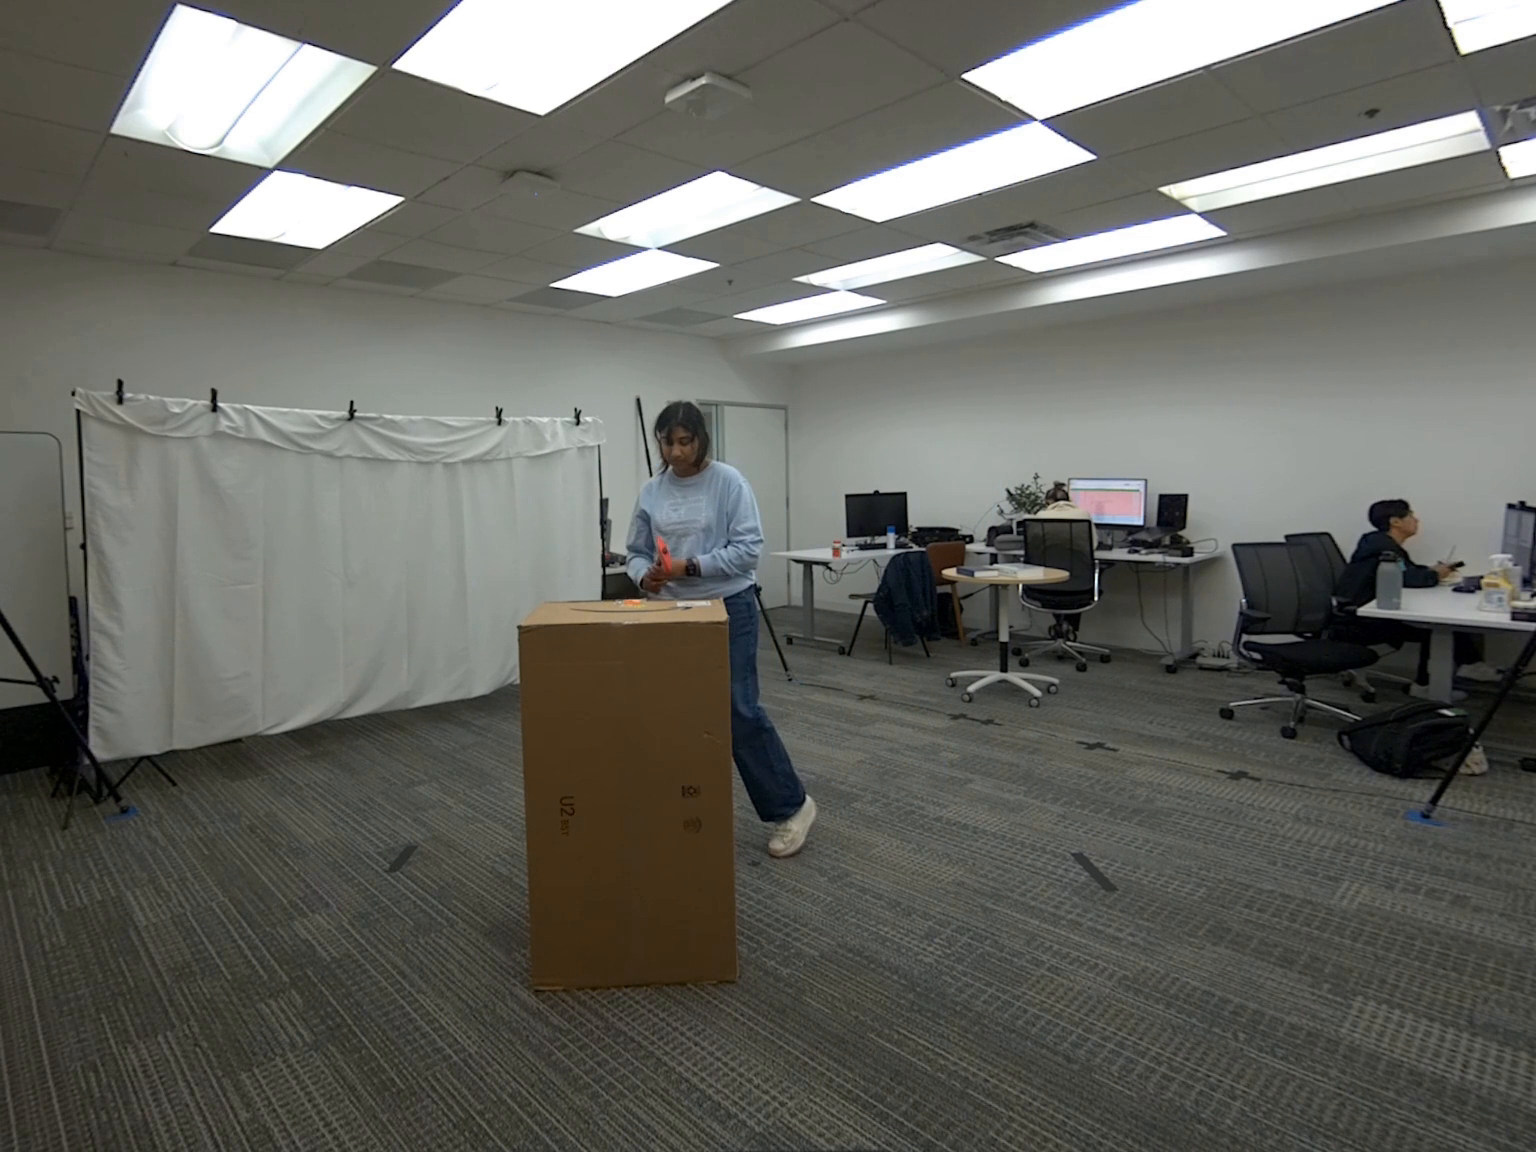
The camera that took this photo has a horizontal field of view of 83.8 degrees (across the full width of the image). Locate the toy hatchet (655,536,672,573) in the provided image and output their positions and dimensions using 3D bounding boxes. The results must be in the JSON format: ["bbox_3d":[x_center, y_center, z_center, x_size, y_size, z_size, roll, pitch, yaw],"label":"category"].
[{"bbox_3d":[-0.369,-0.014,3.026,0.029,0.263,0.136,-17,52,-16],"label":"toy hatchet"}]
